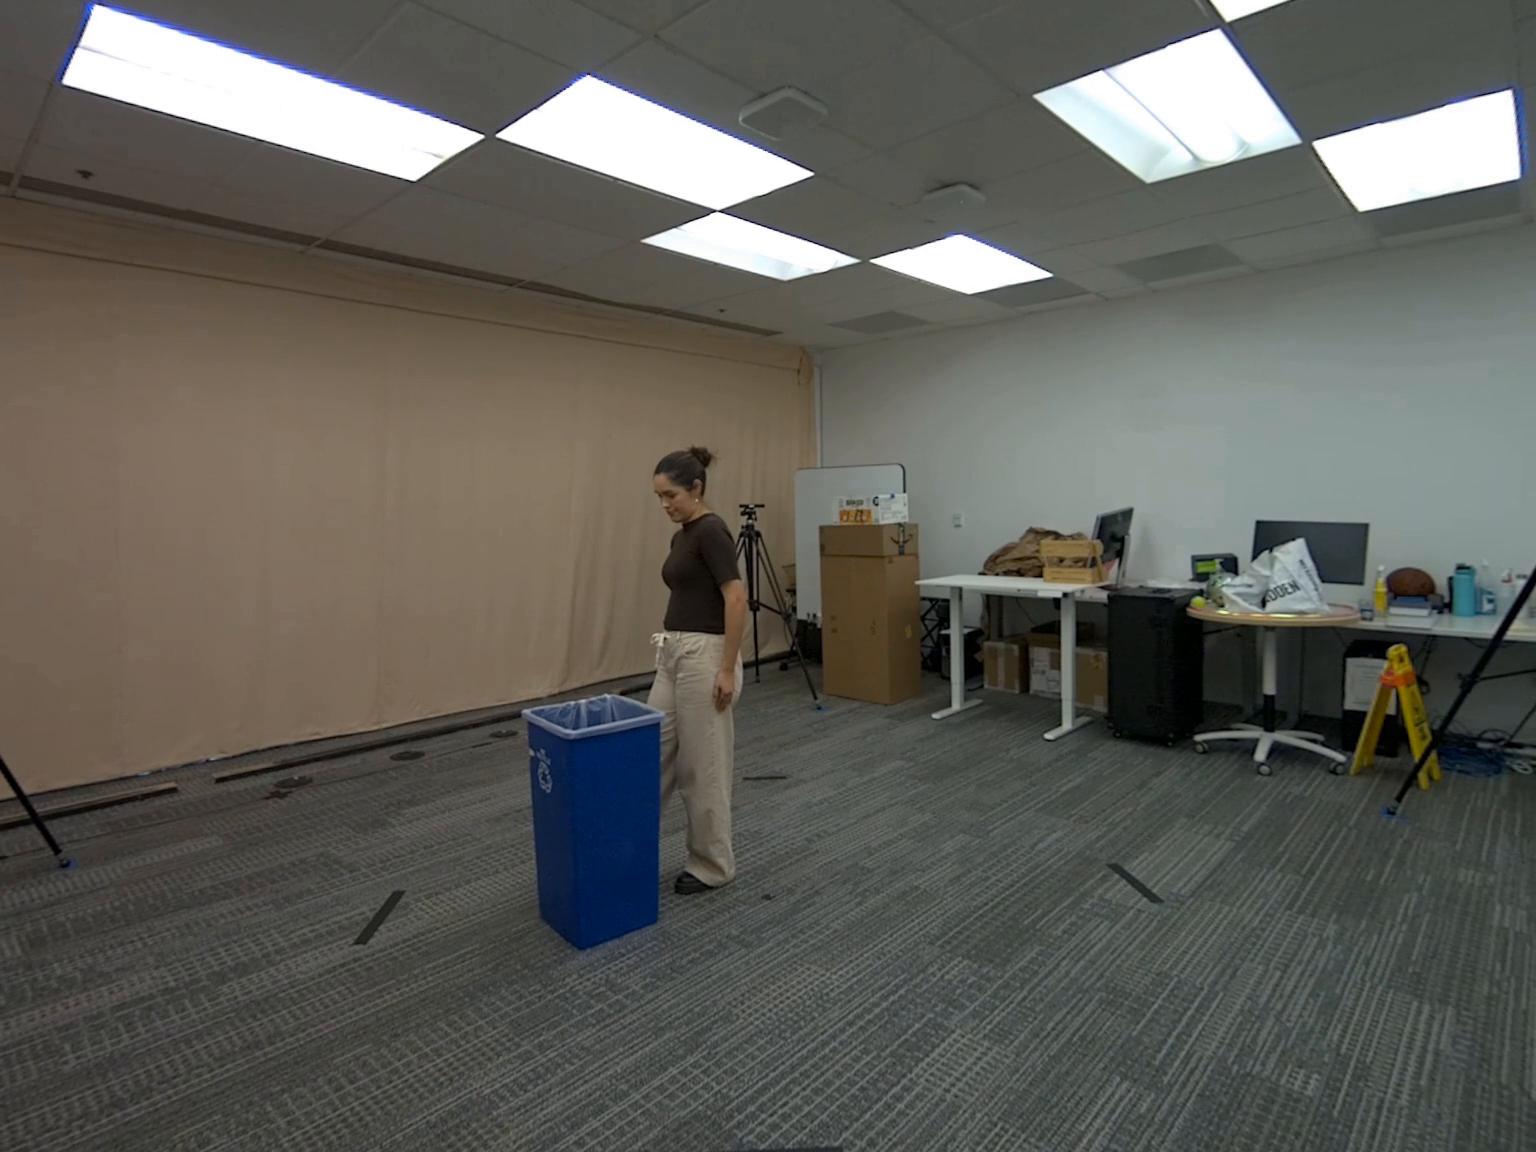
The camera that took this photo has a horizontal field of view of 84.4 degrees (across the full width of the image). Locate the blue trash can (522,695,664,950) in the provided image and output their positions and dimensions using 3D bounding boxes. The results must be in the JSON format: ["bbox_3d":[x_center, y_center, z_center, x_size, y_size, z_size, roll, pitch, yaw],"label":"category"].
[{"bbox_3d":[-0.582,0.810,2.818,0.363,0.712,0.390,-3,4,-39],"label":"blue trash can"}]
